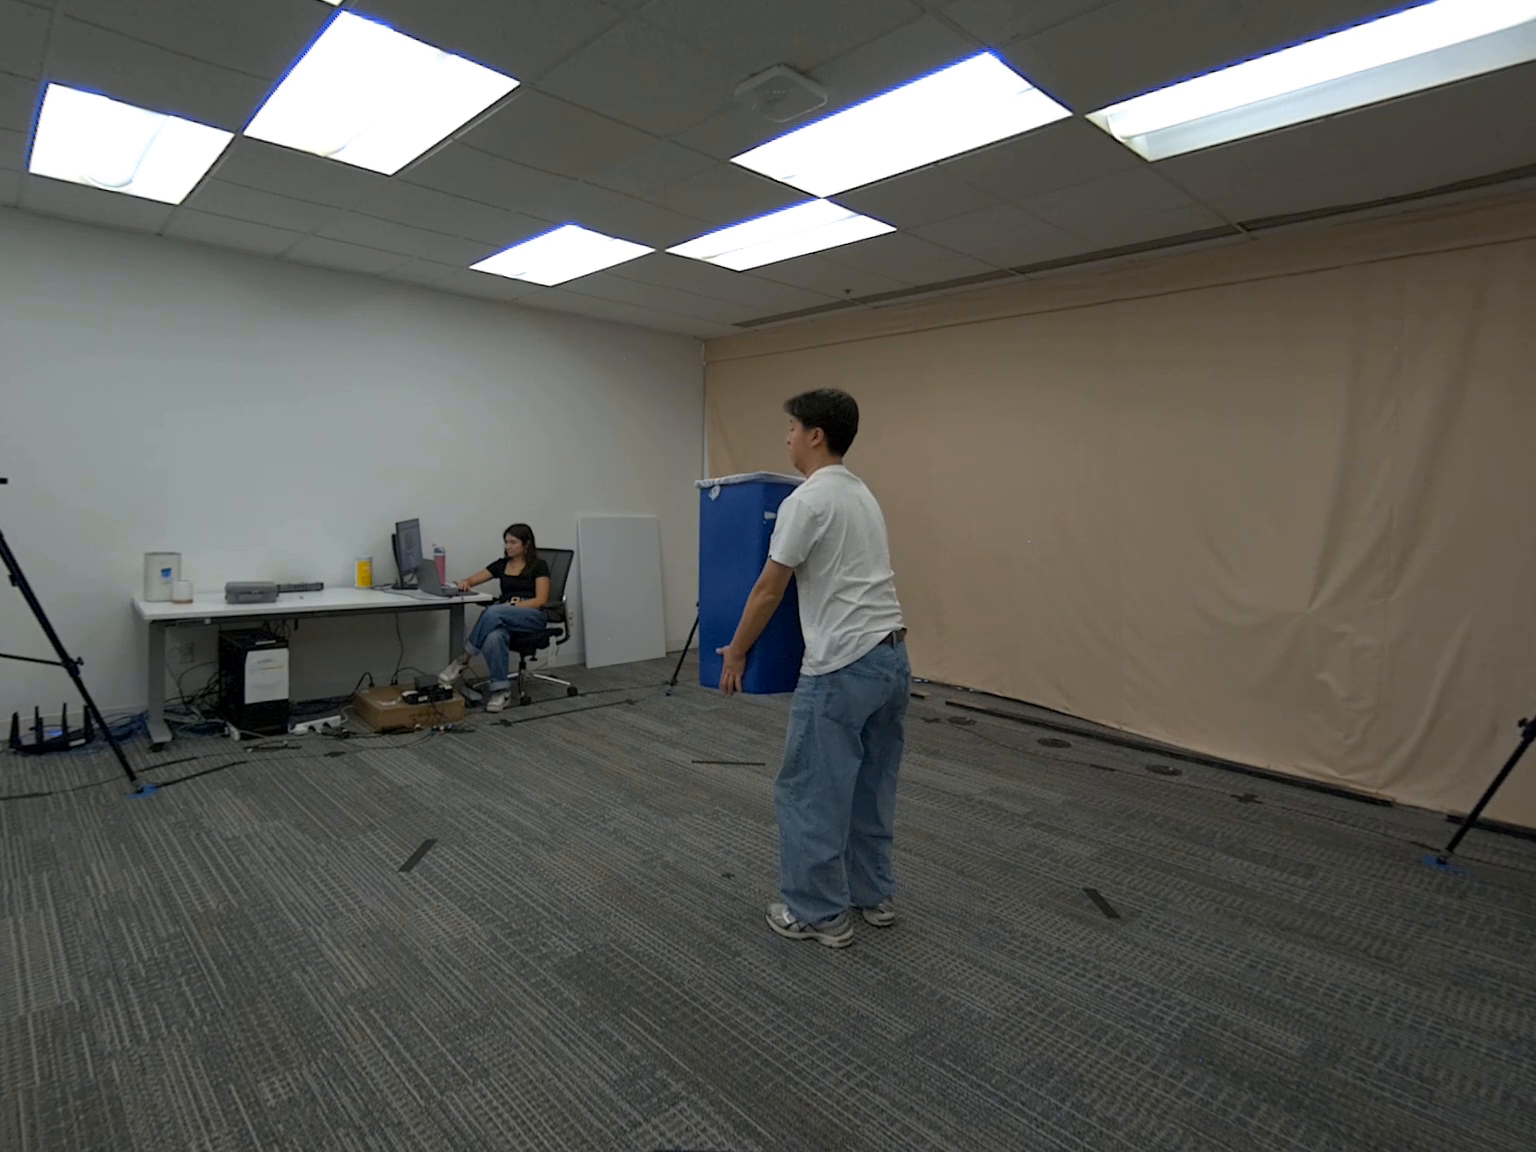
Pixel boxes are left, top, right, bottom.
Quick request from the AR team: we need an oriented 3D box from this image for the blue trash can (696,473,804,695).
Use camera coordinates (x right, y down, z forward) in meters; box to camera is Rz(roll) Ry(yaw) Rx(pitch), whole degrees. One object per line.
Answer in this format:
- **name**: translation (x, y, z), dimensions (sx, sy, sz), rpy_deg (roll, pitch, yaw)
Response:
- **blue trash can**: translation (-0.026, 0.046, 2.933), dimensions (0.365, 0.715, 0.387), rpy_deg (3, -3, -42)
